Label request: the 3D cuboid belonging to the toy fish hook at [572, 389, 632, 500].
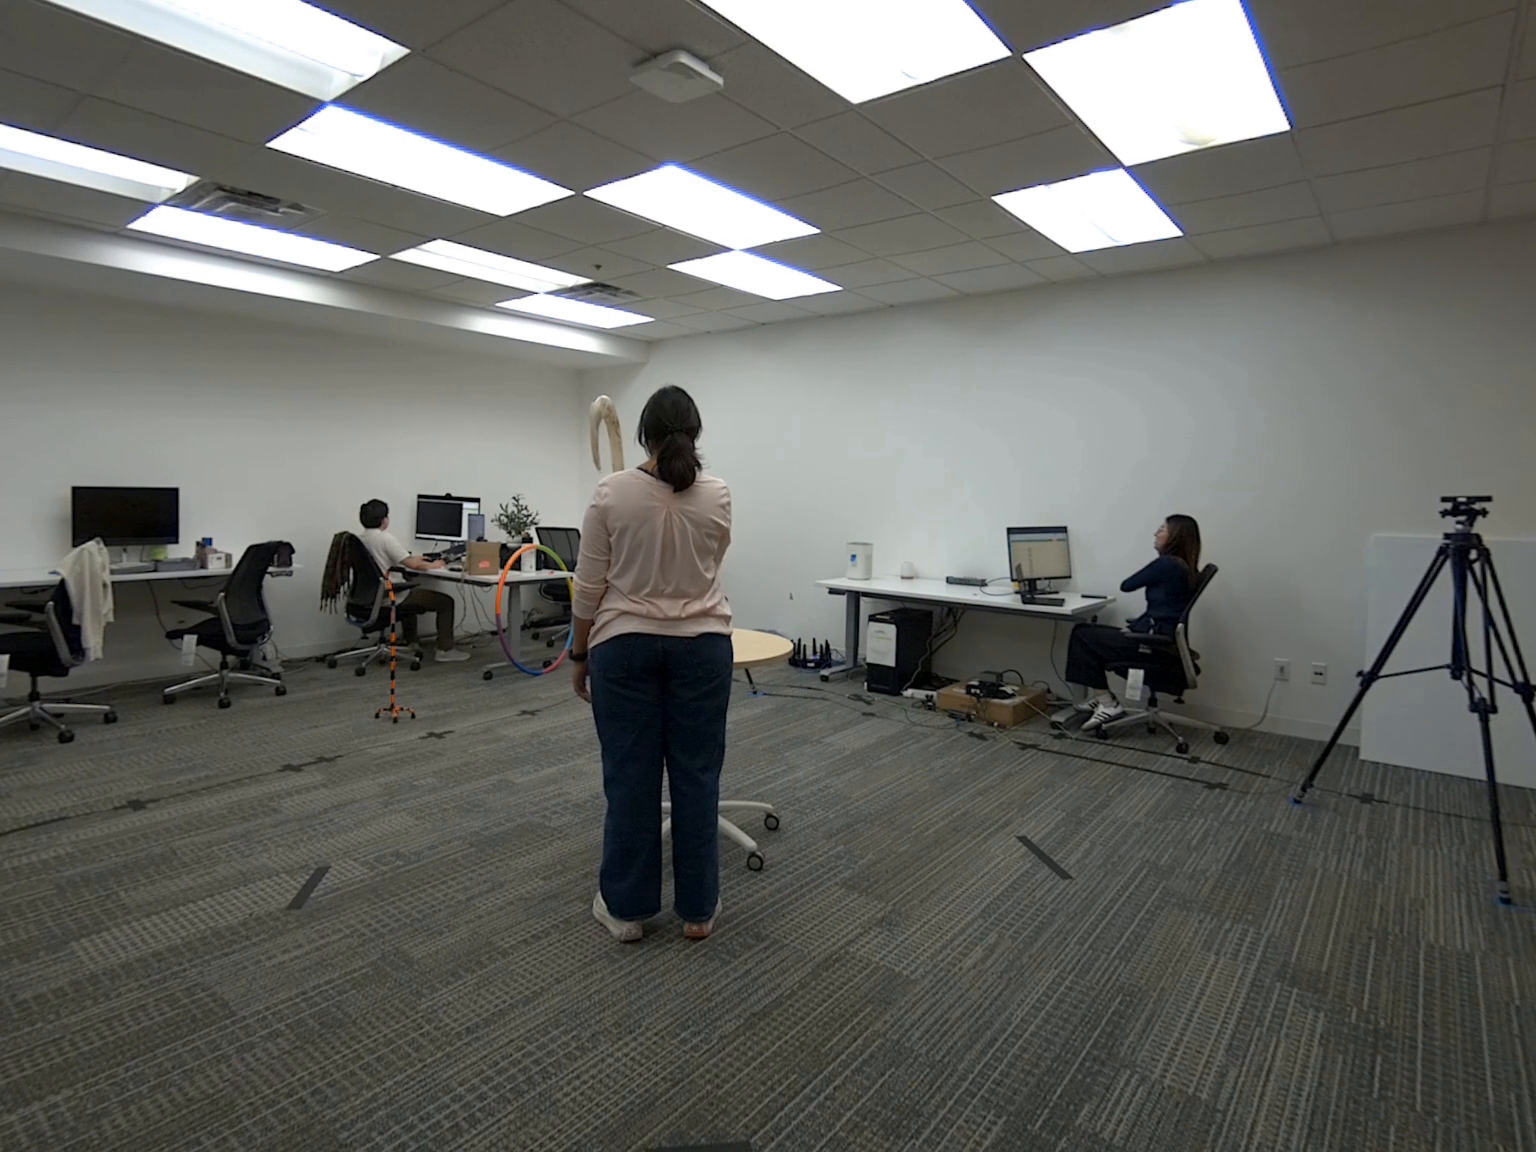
[{"bbox_3d":[-0.493,-0.308,2.638,0.049,0.494,0.226,-1,25,15],"label":"toy fish hook"}]
